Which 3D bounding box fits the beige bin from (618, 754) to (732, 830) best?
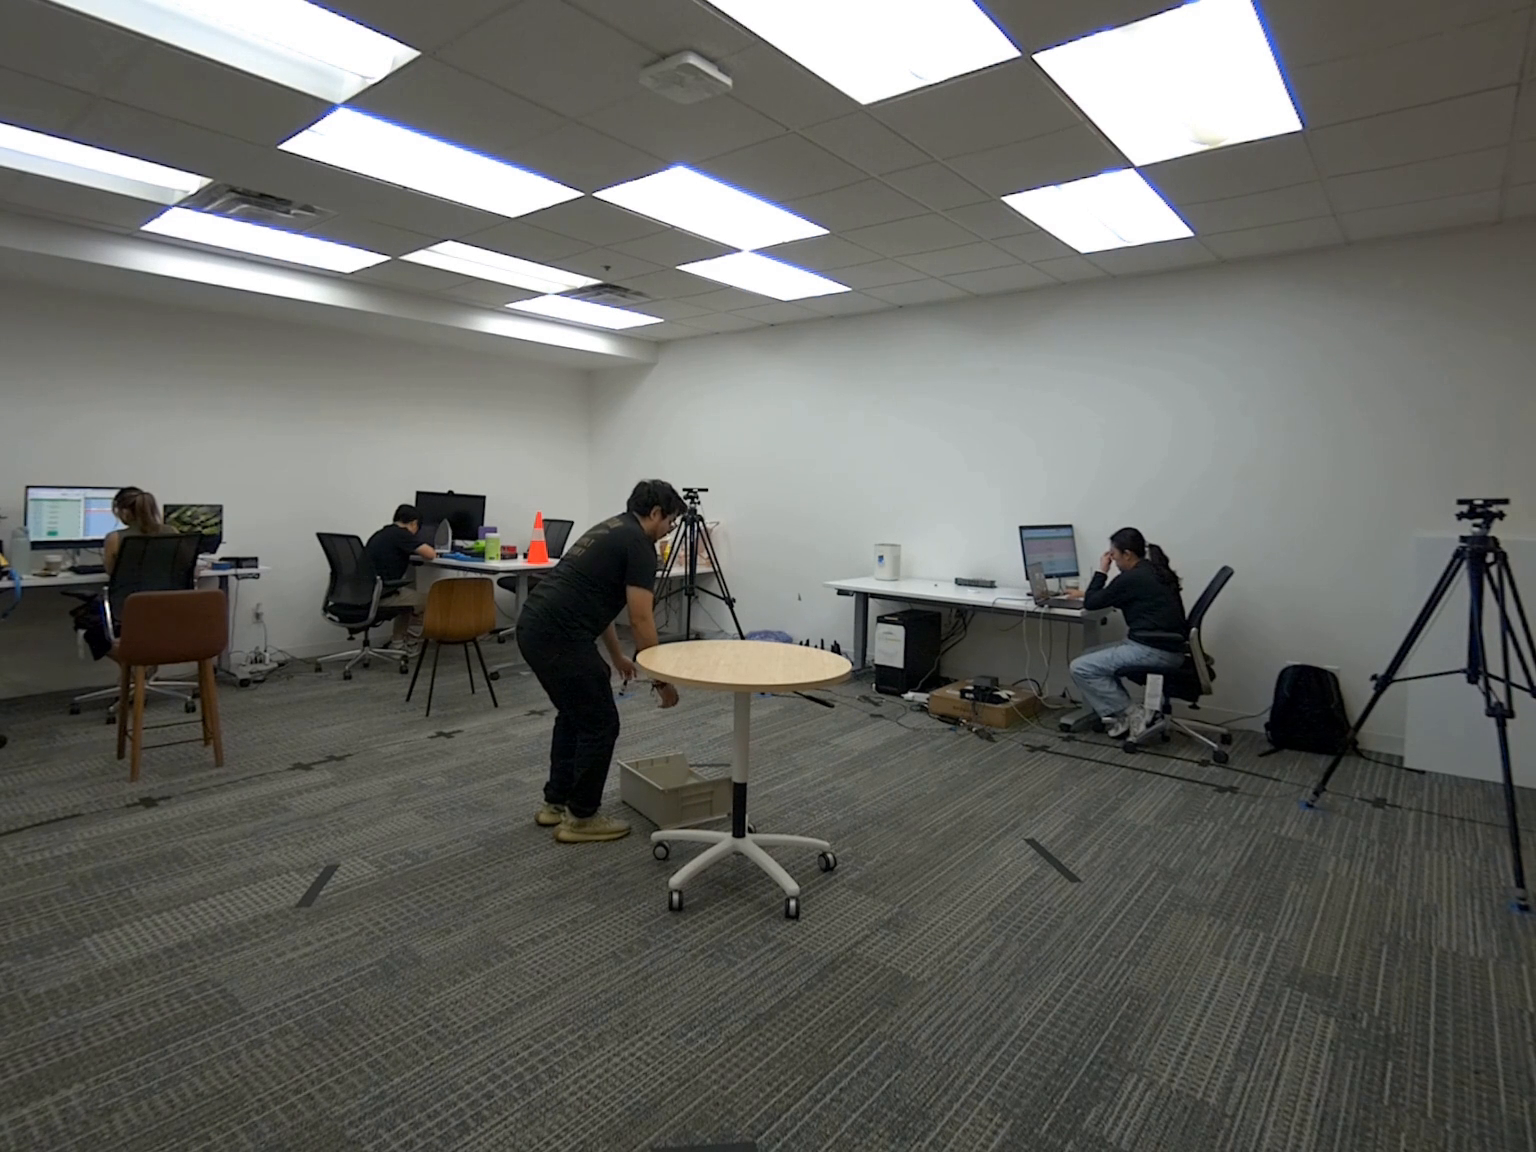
[{"bbox_3d":[-0.419,0.913,3.705,0.367,0.188,0.436,-5,7,-34],"label":"beige bin"}]
